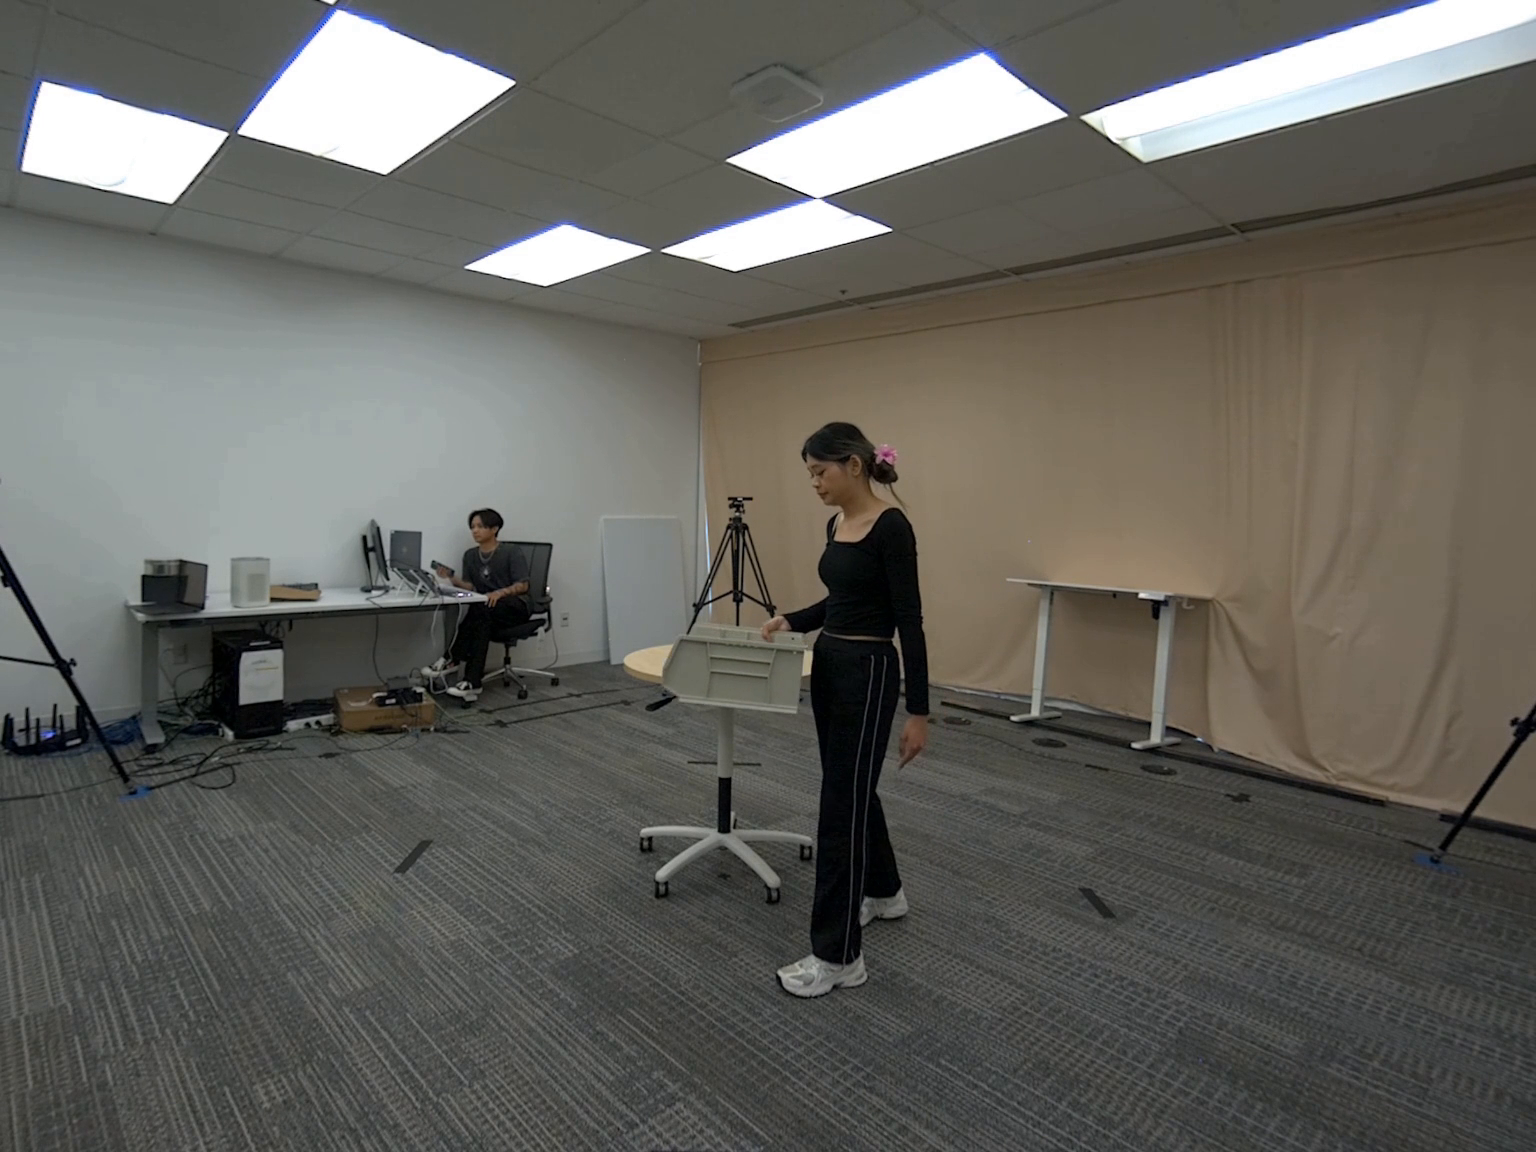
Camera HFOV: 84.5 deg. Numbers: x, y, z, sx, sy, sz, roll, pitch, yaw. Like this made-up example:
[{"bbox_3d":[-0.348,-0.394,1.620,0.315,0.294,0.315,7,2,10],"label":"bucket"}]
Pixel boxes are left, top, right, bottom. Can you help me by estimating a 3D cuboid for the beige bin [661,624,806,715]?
[{"bbox_3d":[-0.091,0.258,2.421,0.379,0.189,0.421,6,1,3],"label":"beige bin"}]
